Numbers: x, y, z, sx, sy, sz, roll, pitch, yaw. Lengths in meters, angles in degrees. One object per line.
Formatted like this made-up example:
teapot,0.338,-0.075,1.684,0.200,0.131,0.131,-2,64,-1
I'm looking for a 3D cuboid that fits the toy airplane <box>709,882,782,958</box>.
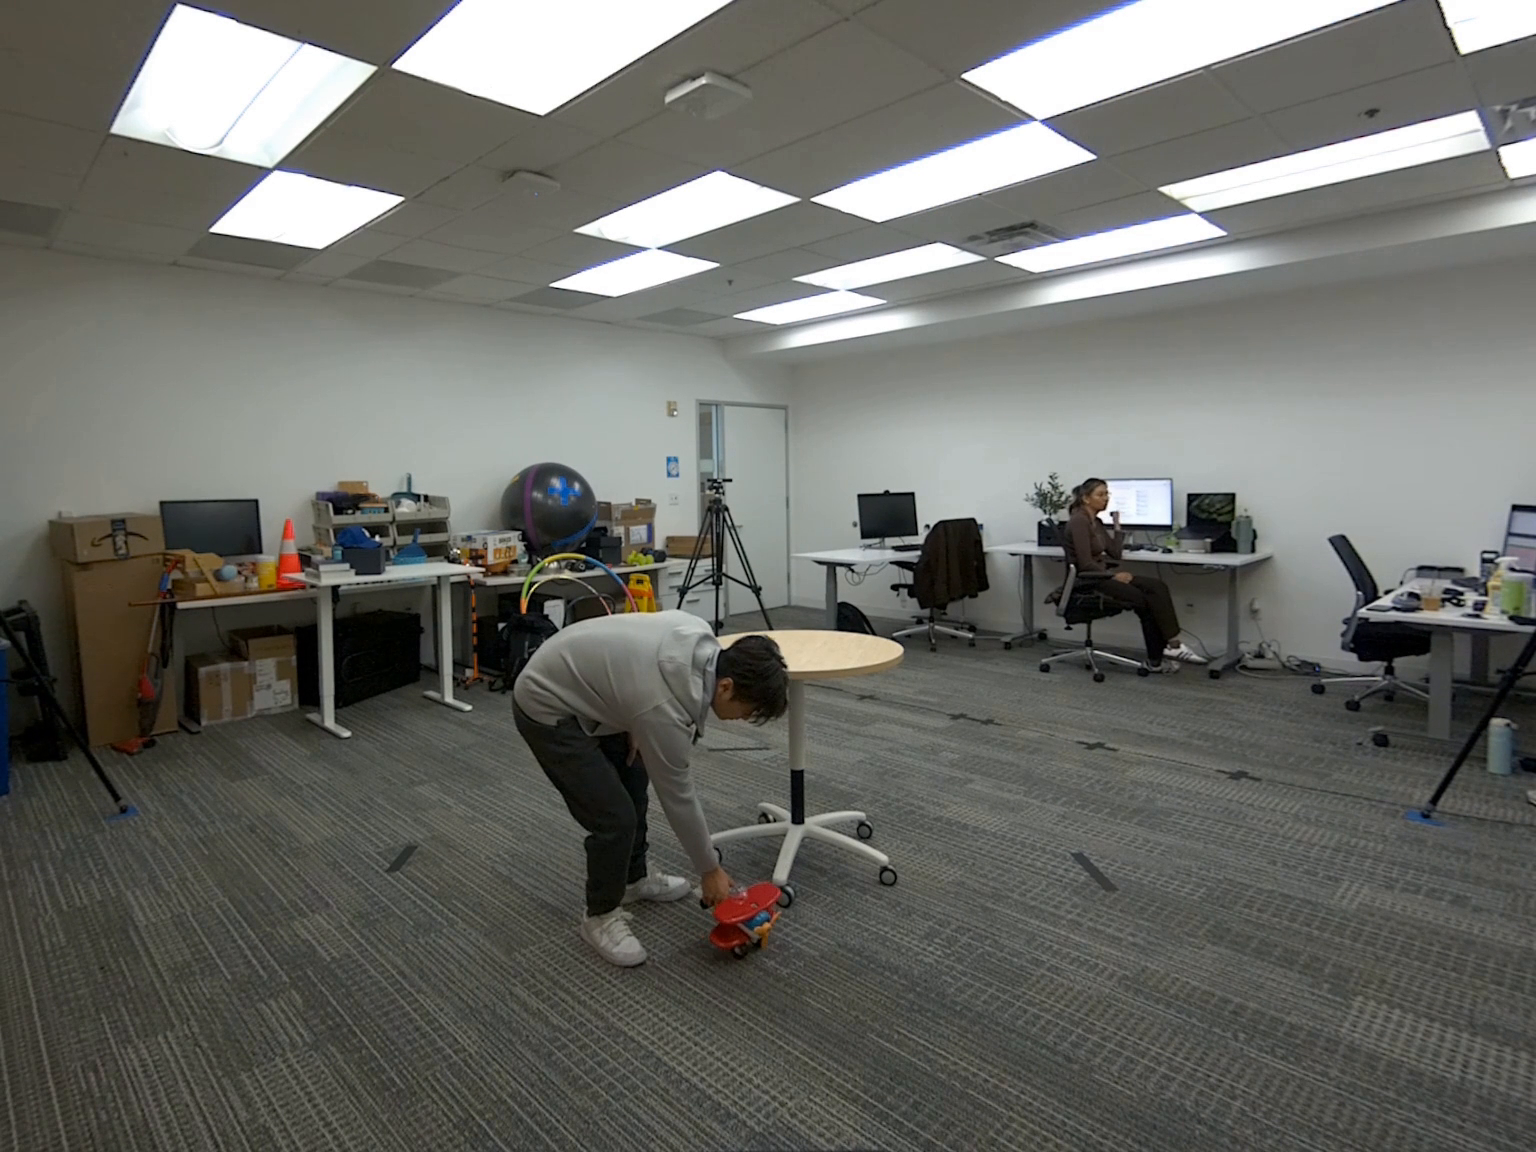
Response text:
toy airplane,-0.102,1.009,2.545,0.262,0.155,0.251,24,23,8
